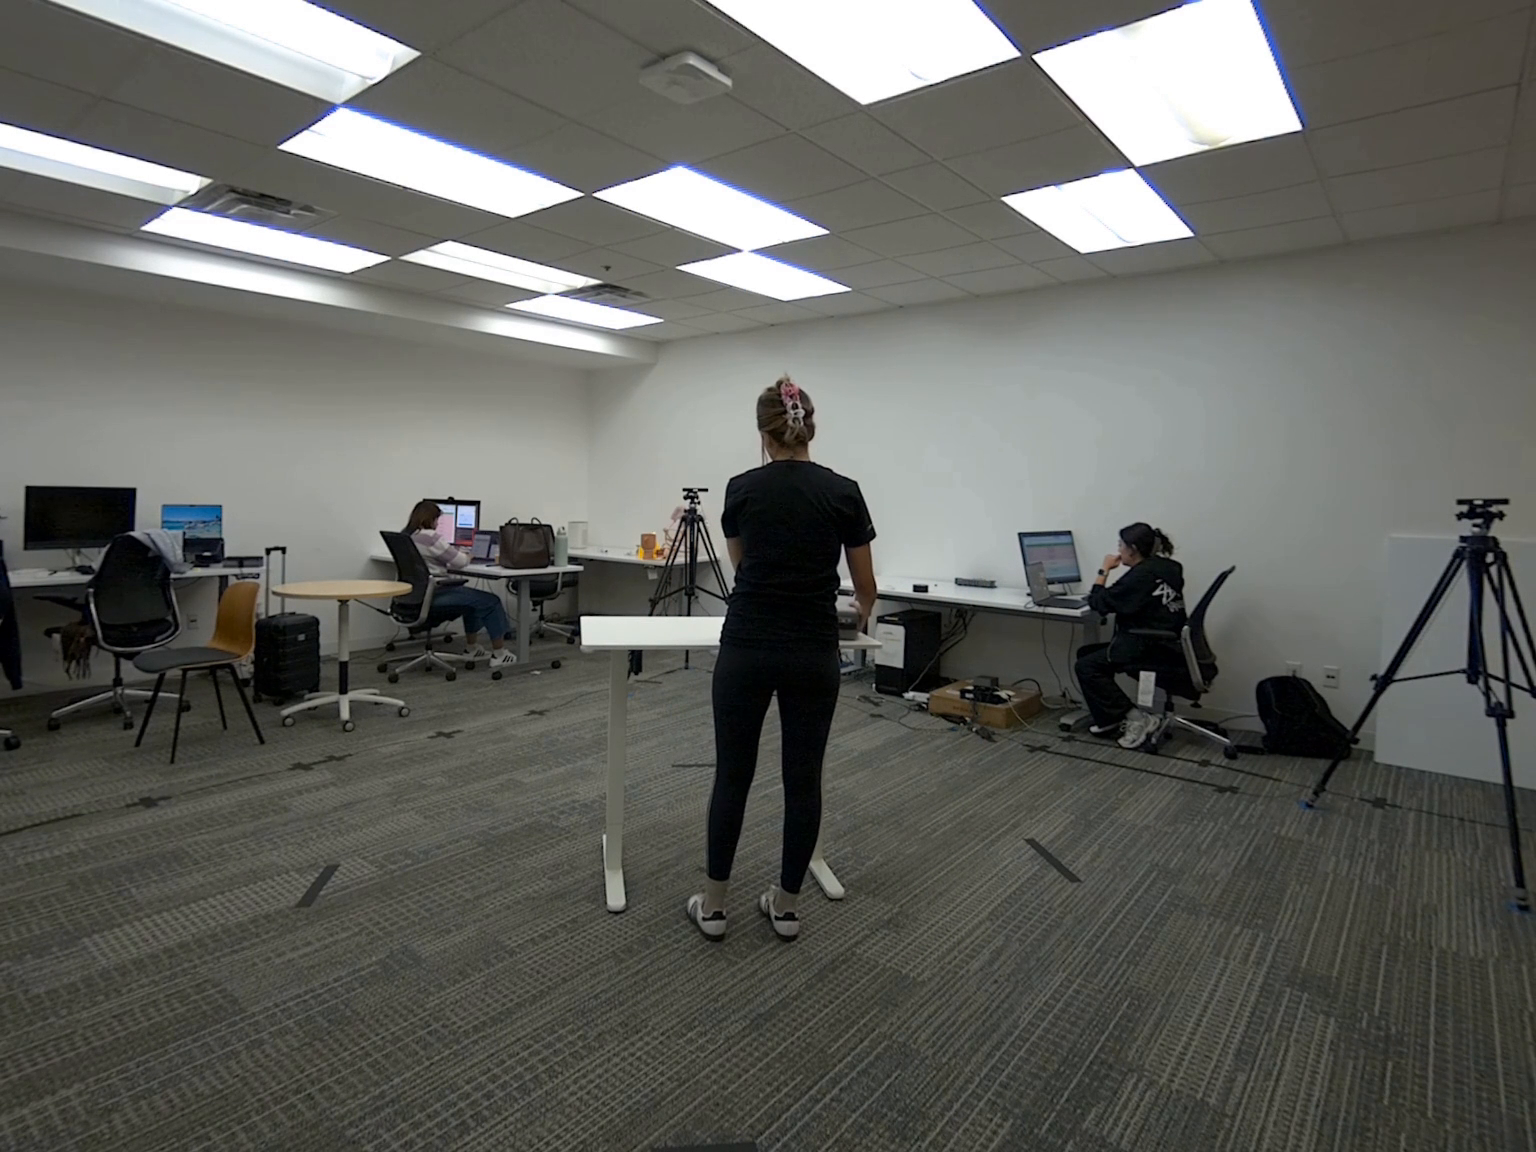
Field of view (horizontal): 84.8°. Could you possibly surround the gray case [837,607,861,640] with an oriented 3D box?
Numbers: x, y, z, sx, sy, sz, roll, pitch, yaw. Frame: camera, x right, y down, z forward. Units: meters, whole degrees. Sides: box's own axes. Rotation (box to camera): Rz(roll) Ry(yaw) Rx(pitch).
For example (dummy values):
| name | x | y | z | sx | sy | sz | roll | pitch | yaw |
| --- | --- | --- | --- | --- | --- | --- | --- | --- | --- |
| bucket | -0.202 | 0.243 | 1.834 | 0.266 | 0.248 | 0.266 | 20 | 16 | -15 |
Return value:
| name | x | y | z | sx | sy | sz | roll | pitch | yaw |
| --- | --- | --- | --- | --- | --- | --- | --- | --- | --- |
| gray case | 0.187 | 0.155 | 3.045 | 0.258 | 0.104 | 0.260 | 1 | 5 | 4 |
